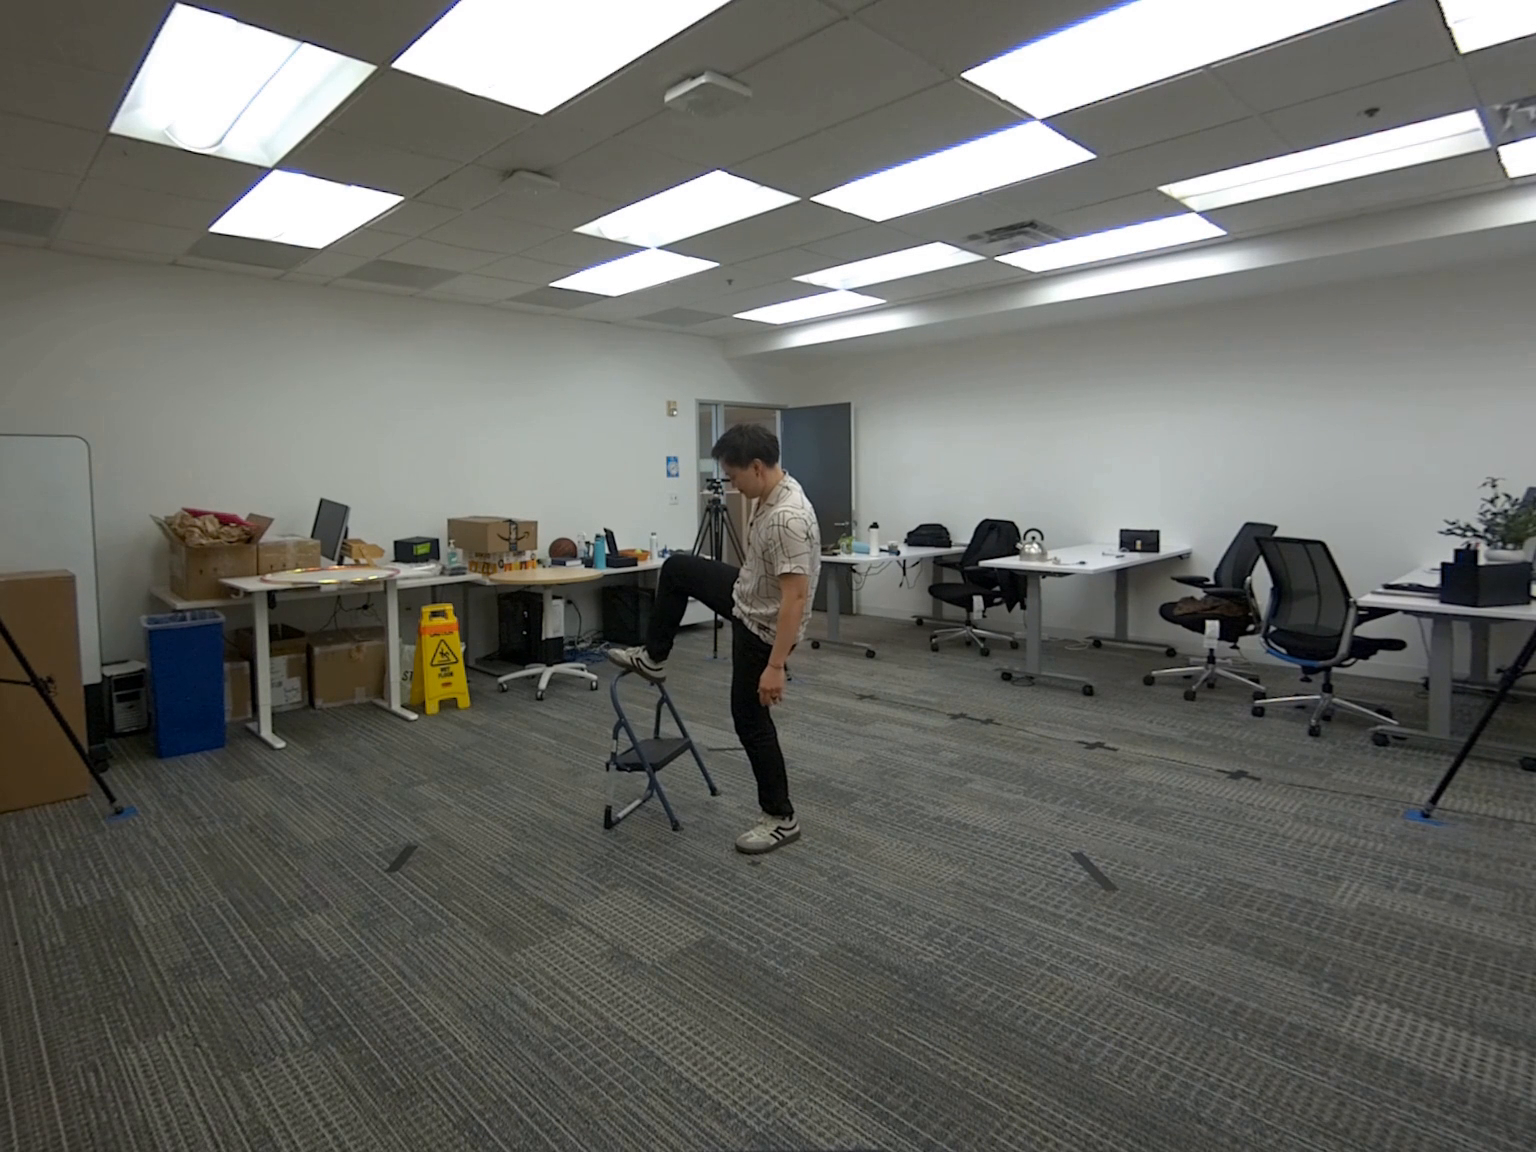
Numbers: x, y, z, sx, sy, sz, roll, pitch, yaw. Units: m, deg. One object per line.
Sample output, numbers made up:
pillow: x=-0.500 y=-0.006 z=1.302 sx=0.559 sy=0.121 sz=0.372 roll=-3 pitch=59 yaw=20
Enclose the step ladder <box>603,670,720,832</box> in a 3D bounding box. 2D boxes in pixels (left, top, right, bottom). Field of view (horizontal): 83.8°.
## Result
step ladder: x=-0.479 y=0.682 z=3.560 sx=0.355 sy=0.606 sz=0.424 roll=-8 pitch=1 yaw=19
